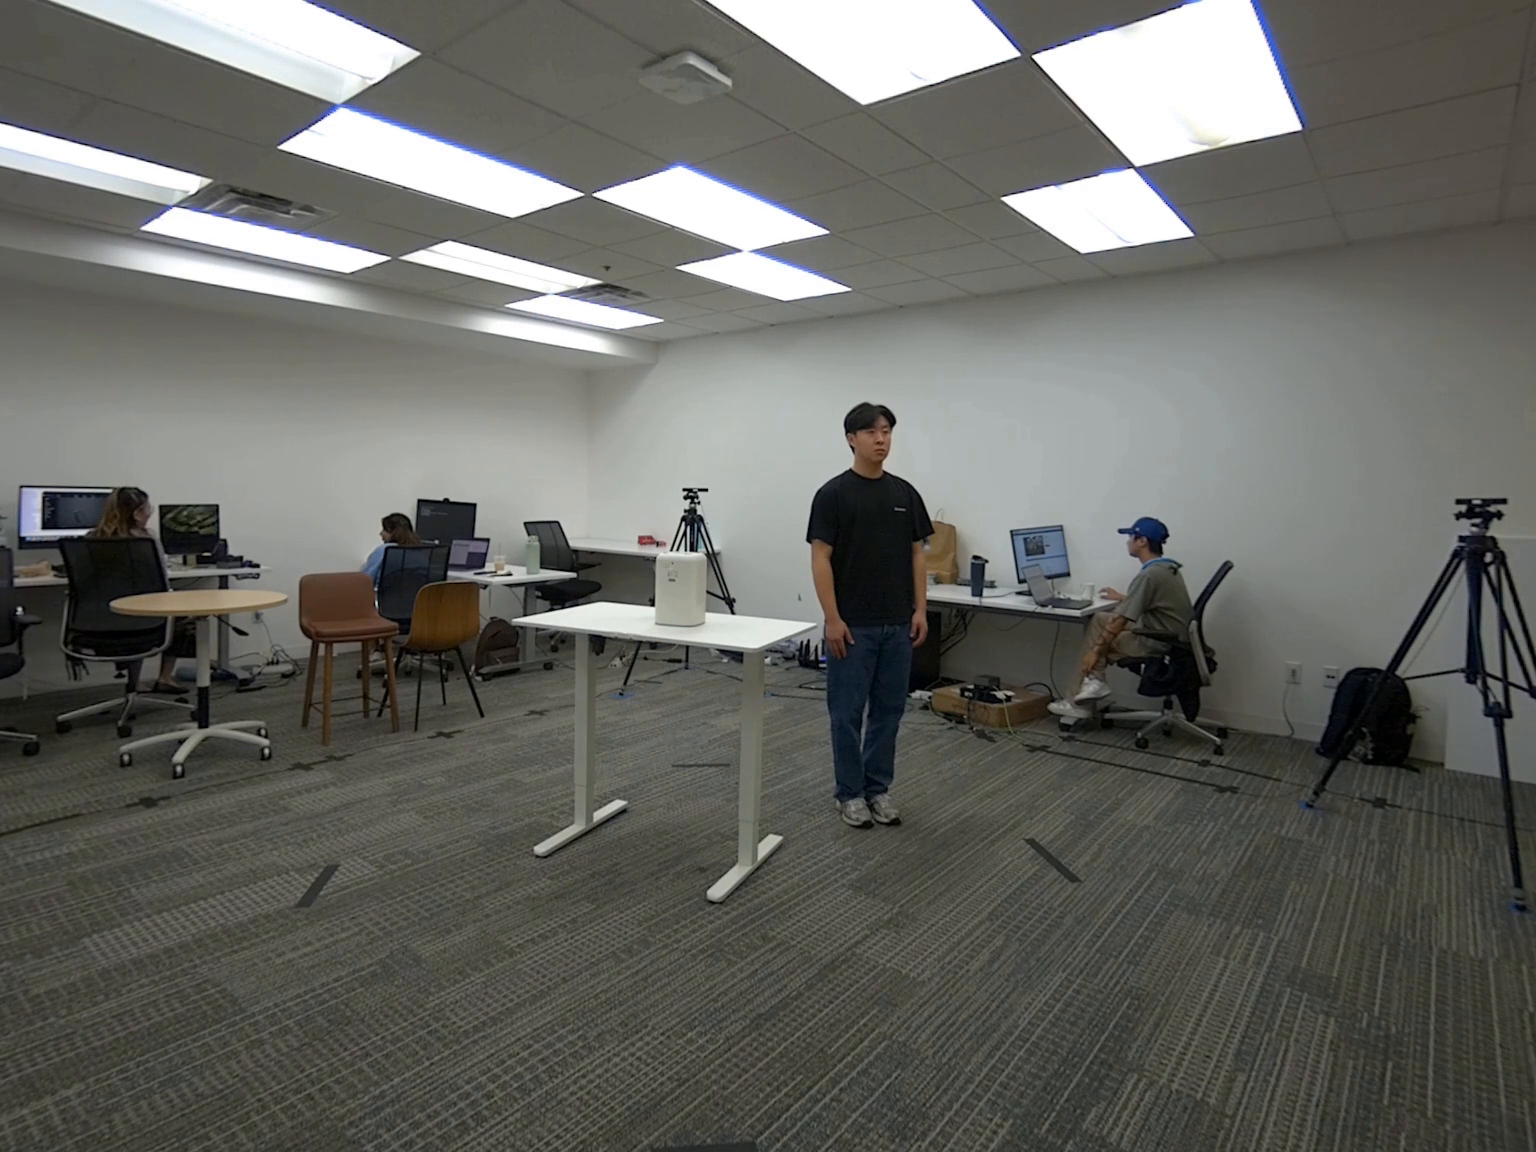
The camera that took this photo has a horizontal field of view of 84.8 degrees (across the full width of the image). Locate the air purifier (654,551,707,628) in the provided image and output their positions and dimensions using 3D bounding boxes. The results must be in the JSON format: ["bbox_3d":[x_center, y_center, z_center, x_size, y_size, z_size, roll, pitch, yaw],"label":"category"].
[{"bbox_3d":[-0.335,0.044,3.203,0.174,0.264,0.169,2,4,18],"label":"air purifier"}]
